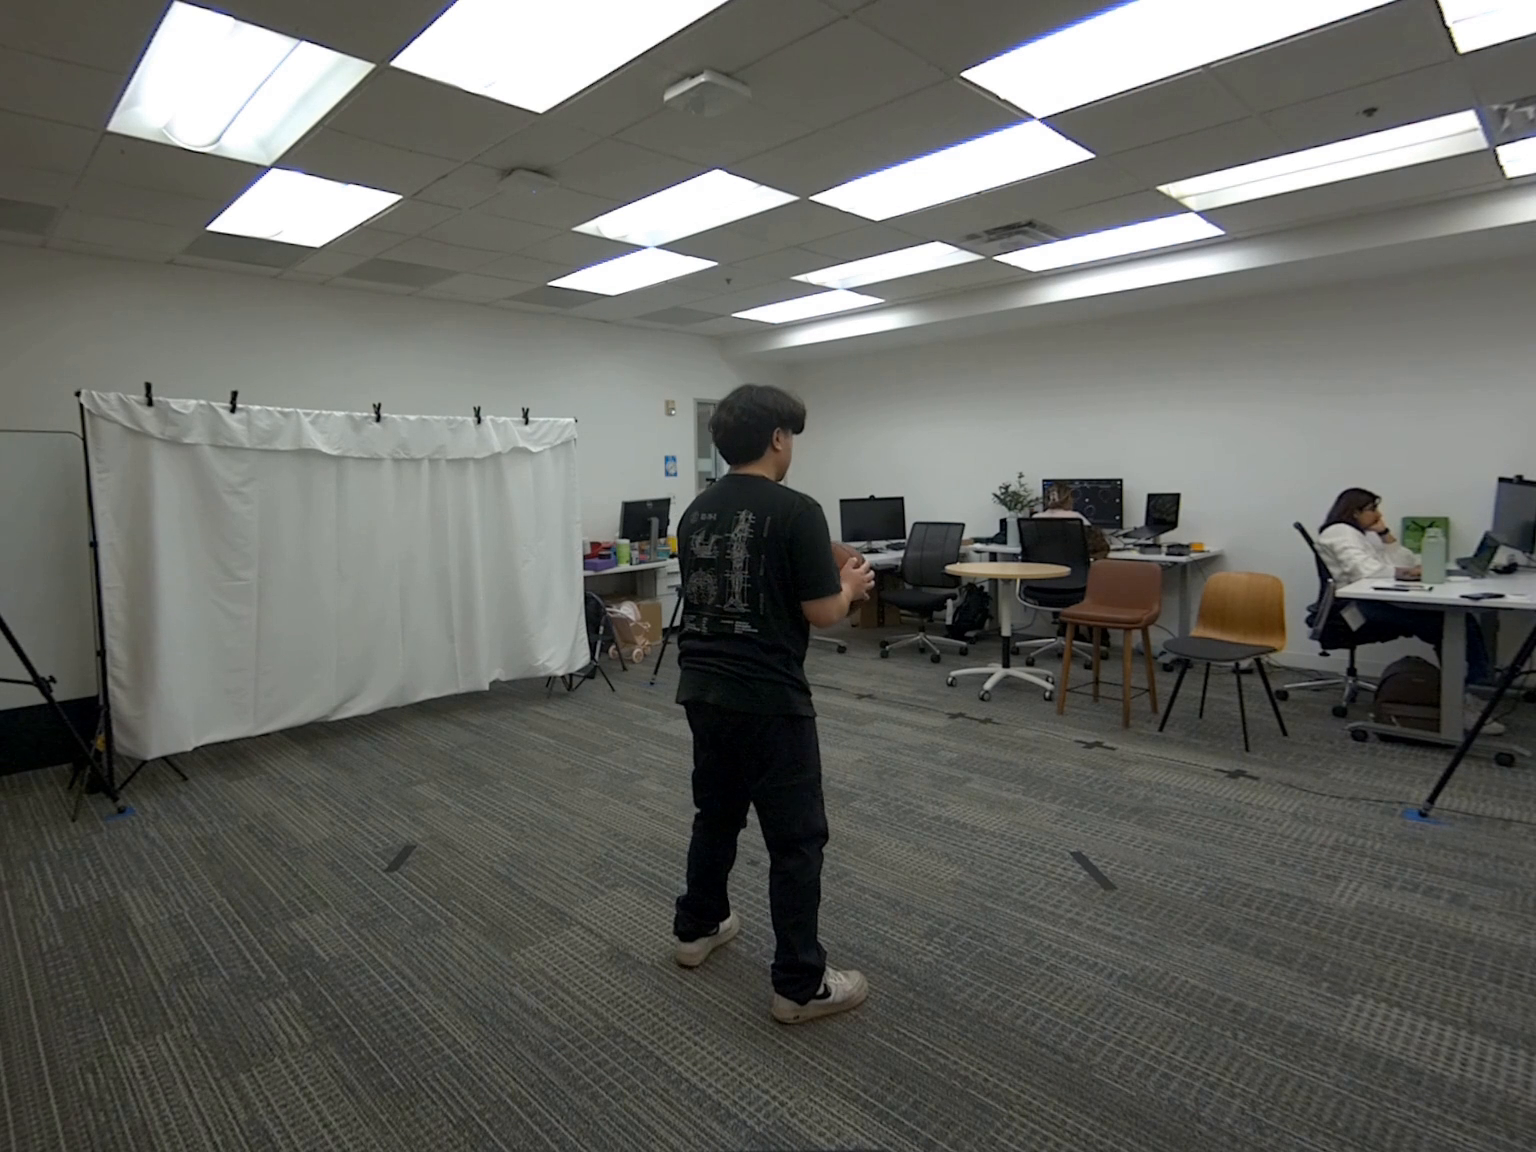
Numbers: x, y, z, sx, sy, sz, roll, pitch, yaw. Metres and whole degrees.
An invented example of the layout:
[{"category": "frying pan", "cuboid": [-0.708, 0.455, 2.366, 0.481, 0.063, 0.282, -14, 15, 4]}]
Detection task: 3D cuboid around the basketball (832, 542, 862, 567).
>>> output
[{"category": "basketball", "cuboid": [0.193, 0.013, 2.562, 0.236, 0.235, 0.237, -1, 5, -2]}]
